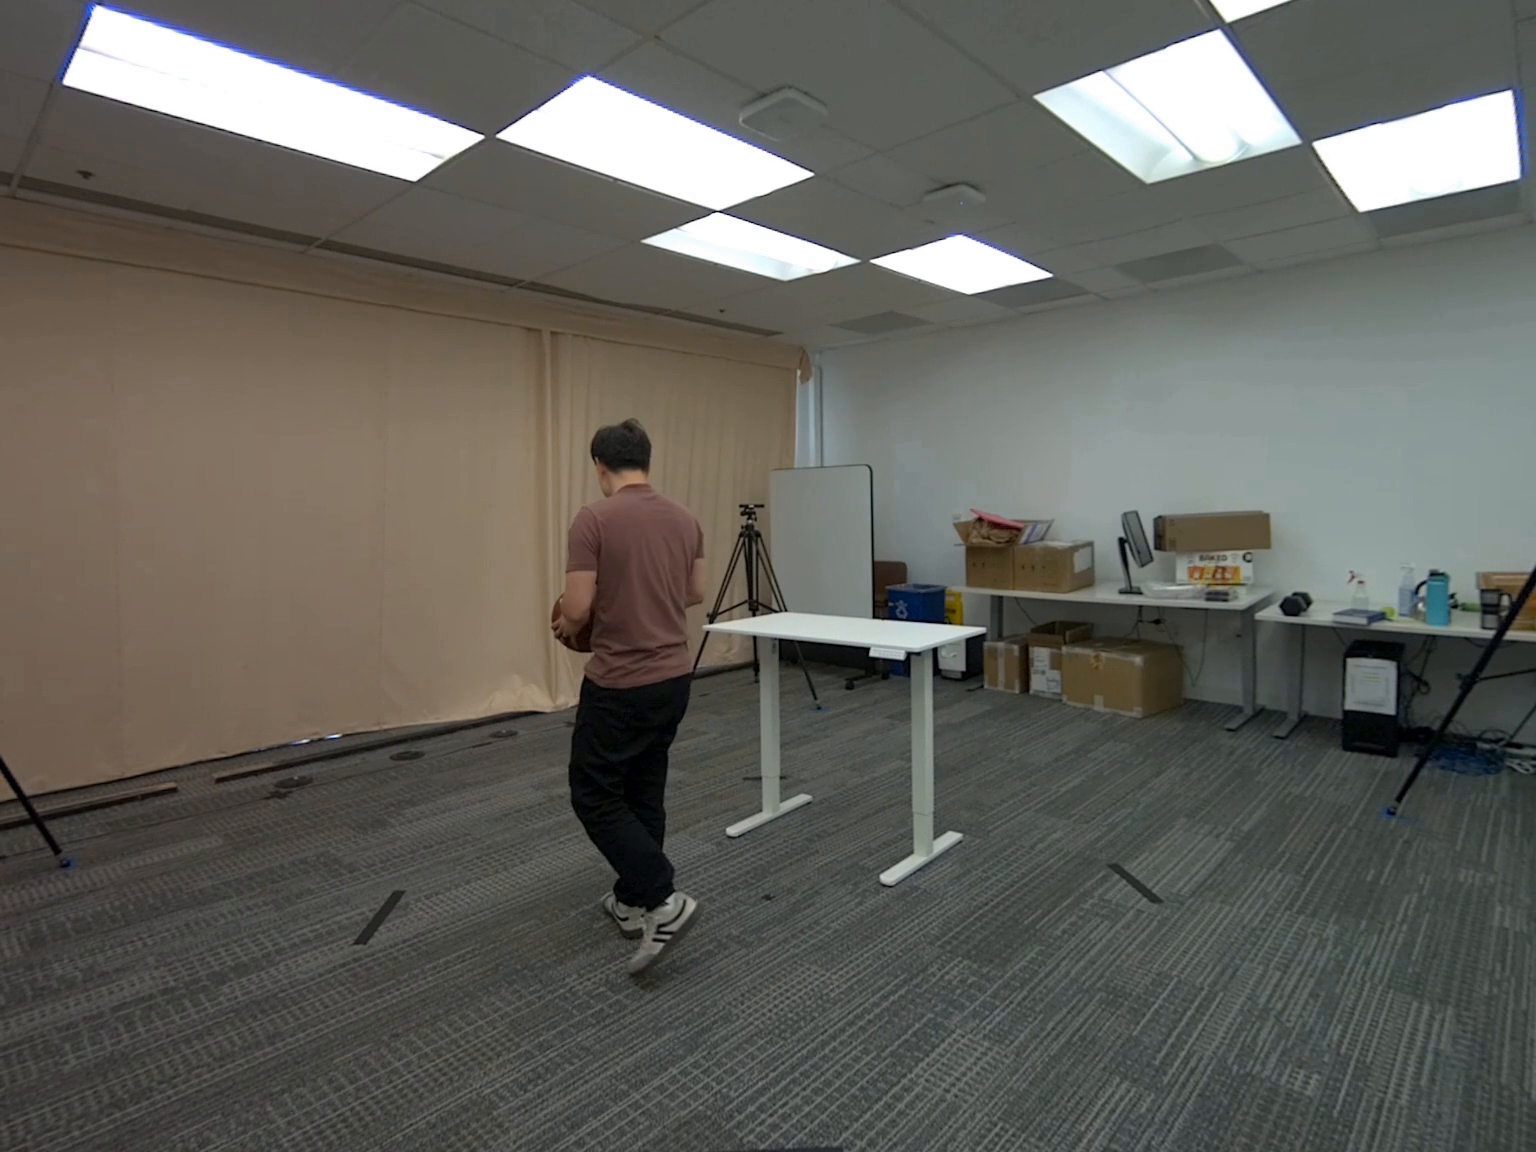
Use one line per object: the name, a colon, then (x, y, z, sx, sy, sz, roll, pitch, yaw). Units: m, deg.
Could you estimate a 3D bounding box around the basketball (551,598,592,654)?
basketball: (-0.623, 0.152, 2.912, 0.236, 0.235, 0.237, -1, 4, -2)
